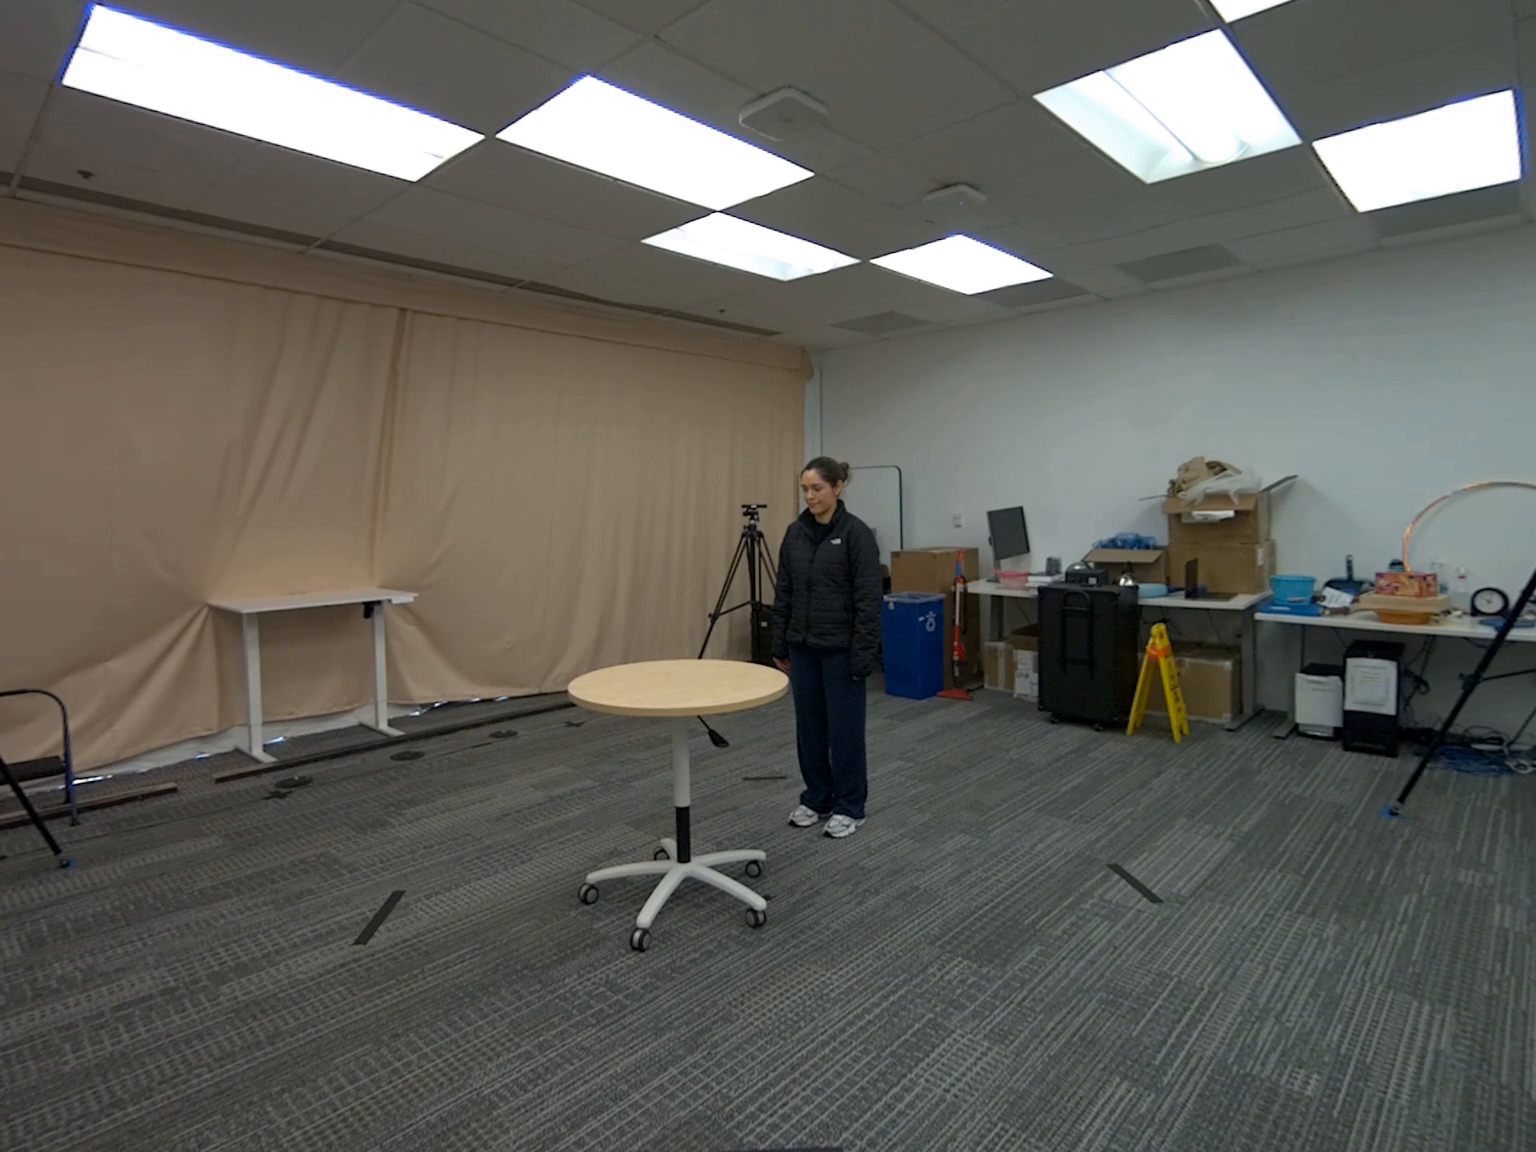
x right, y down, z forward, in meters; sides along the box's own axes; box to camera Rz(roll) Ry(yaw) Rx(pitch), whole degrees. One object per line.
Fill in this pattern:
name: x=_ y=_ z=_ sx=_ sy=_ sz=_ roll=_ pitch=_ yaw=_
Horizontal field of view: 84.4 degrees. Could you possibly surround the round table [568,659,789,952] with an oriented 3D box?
round table: x=-0.290 y=0.754 z=2.973 sx=0.784 sy=0.784 sz=0.788 roll=-1 pitch=4 yaw=-2
